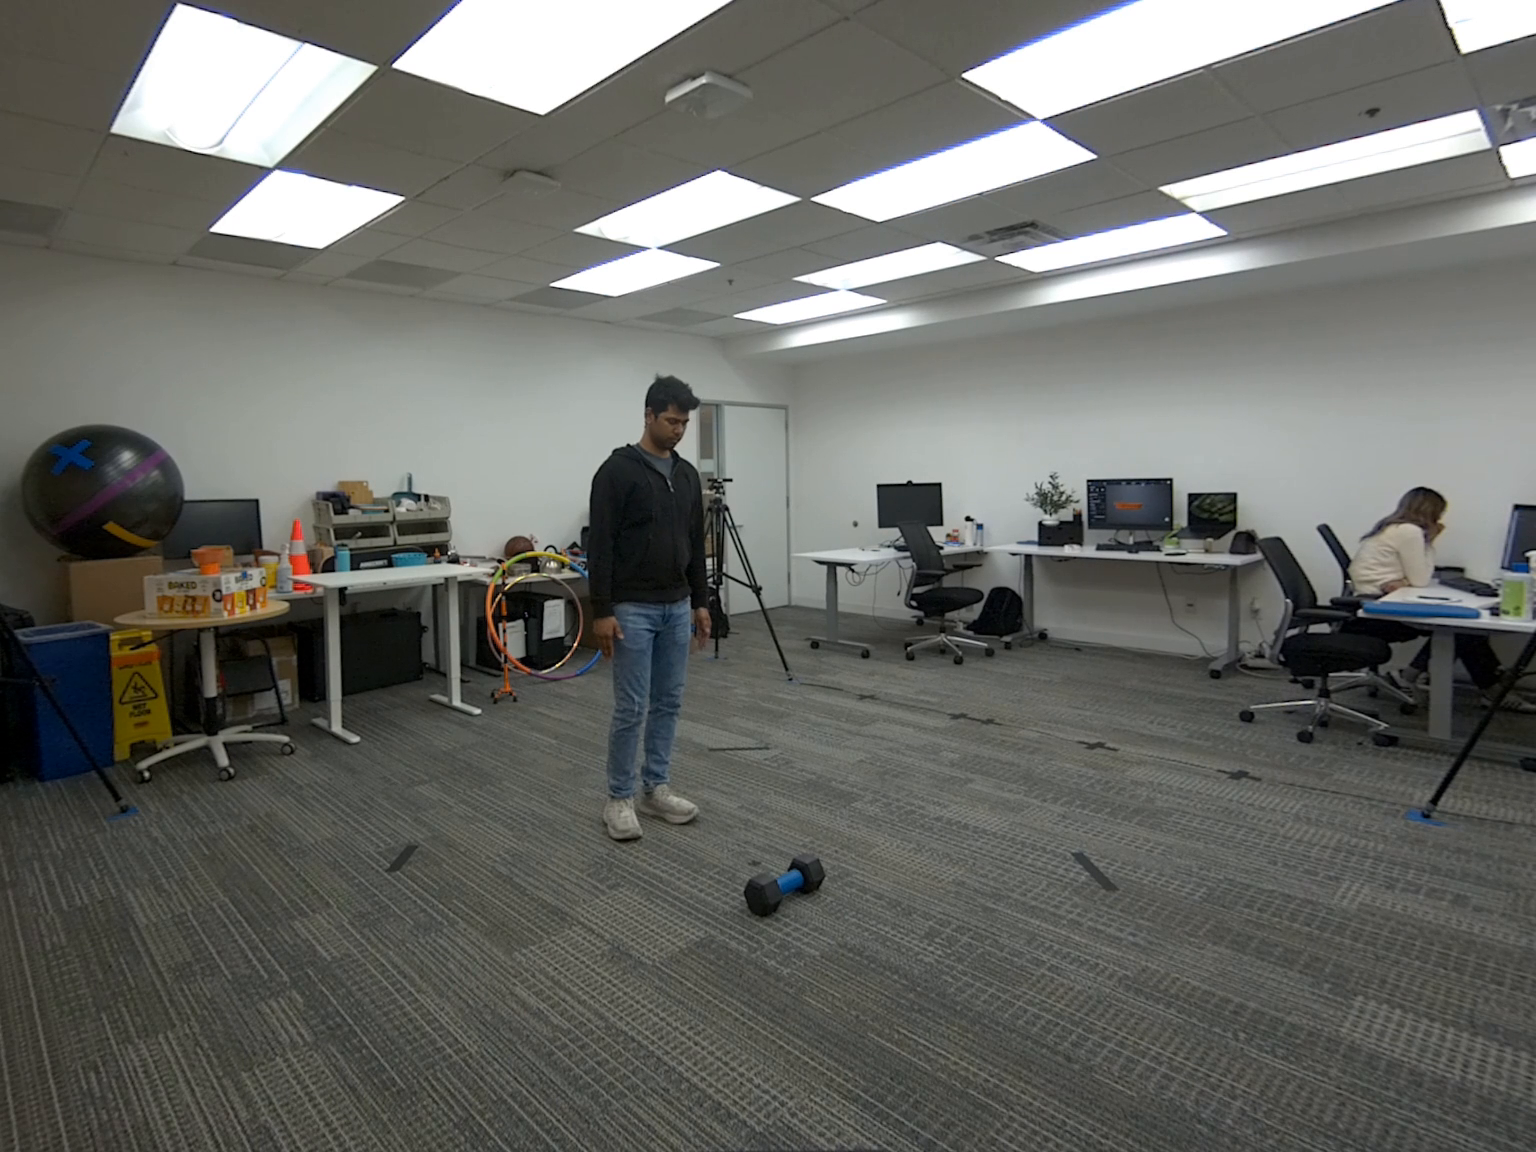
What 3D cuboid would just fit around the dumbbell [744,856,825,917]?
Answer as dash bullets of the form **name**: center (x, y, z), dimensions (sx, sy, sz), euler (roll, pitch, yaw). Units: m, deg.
- **dumbbell**: center (0.064, 1.019, 2.832), dimensions (0.286, 0.125, 0.109), euler (-7, -20, -44)
